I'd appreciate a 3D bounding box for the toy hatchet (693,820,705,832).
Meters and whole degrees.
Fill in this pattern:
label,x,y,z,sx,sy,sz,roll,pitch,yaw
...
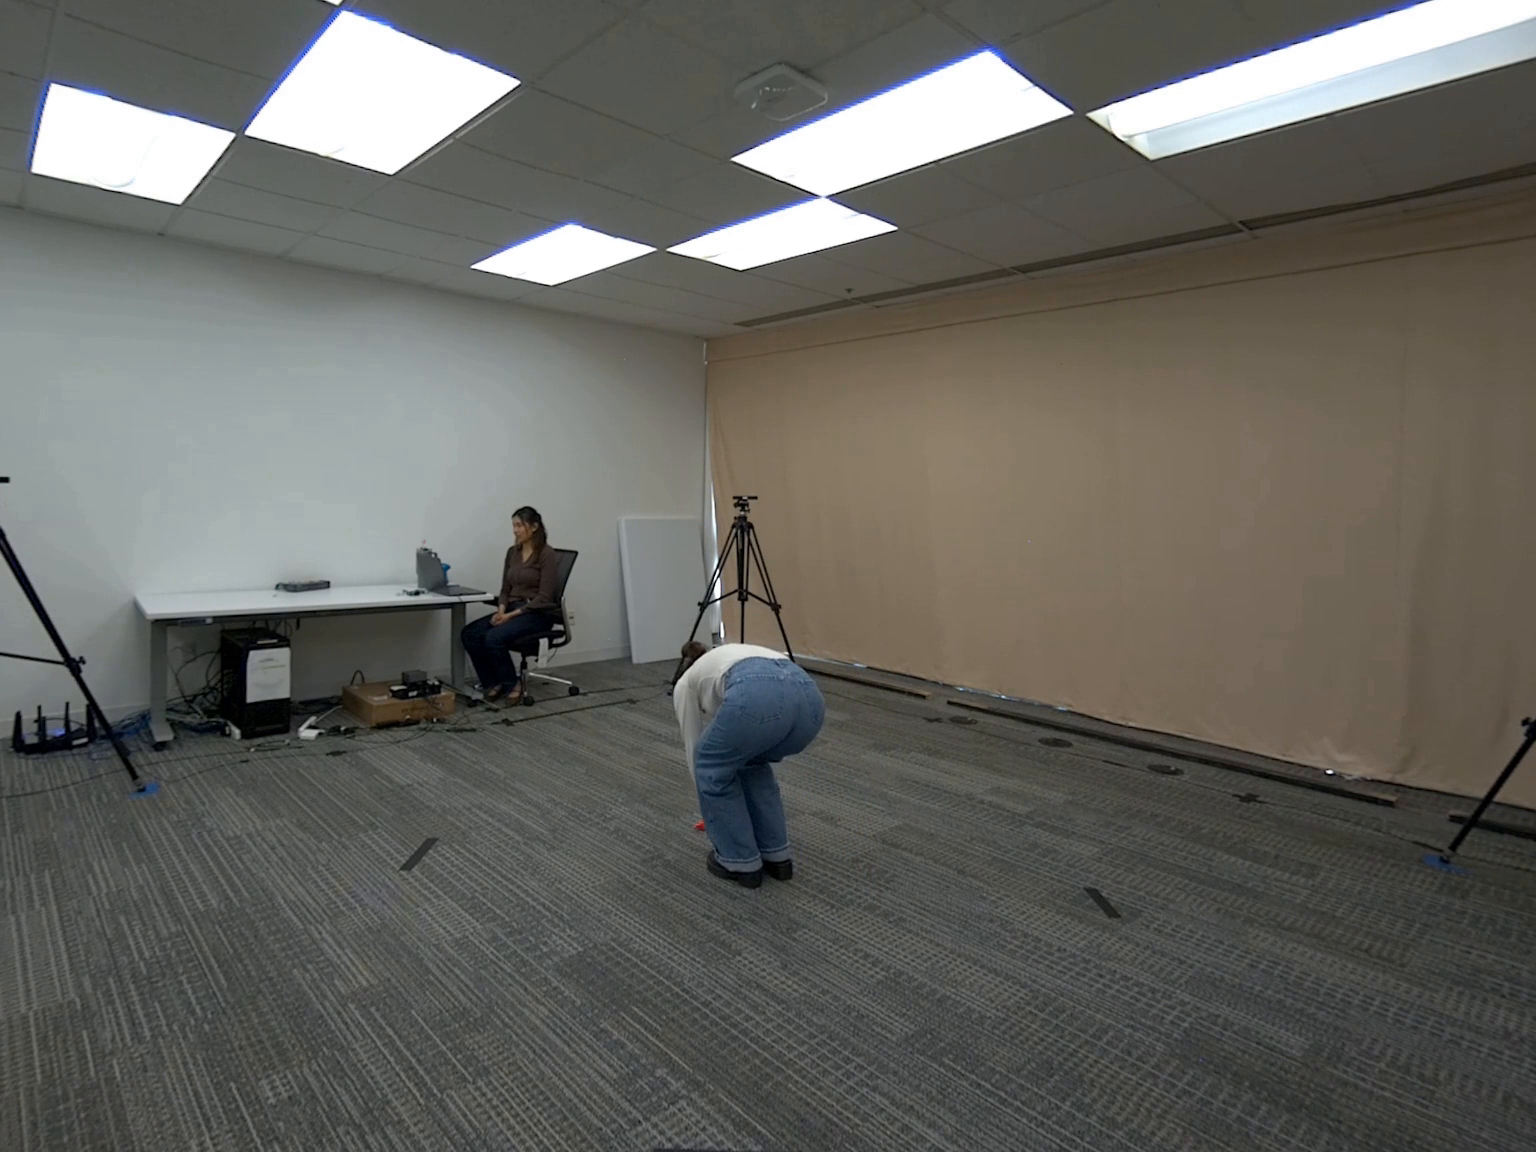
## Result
label,x,y,z,sx,sy,sz,roll,pitch,yaw
toy hatchet,-0.175,1.057,3.475,0.277,0.029,0.128,9,4,39
